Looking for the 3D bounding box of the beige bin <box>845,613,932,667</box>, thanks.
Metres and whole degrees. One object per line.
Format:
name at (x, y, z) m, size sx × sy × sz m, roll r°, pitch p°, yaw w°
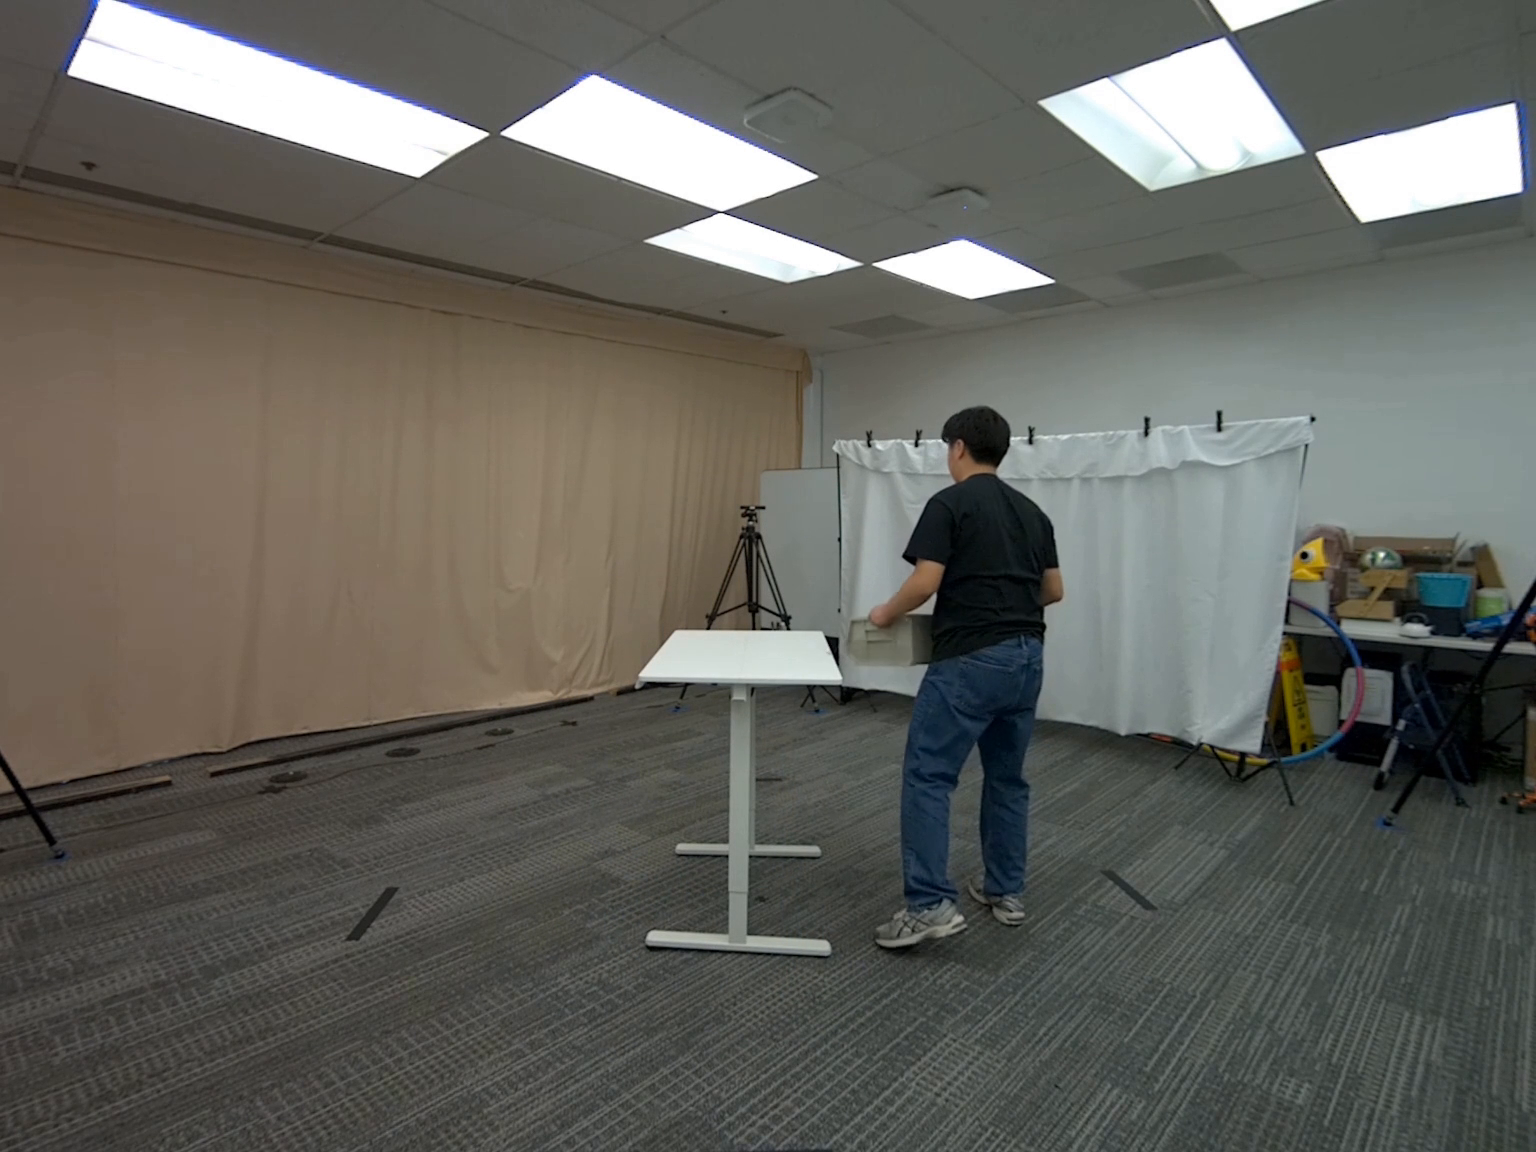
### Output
beige bin at (0.569, 0.249, 3.139) m, size 0.411 × 0.189 × 0.386 m, roll 4°, pitch -5°, yaw -29°
